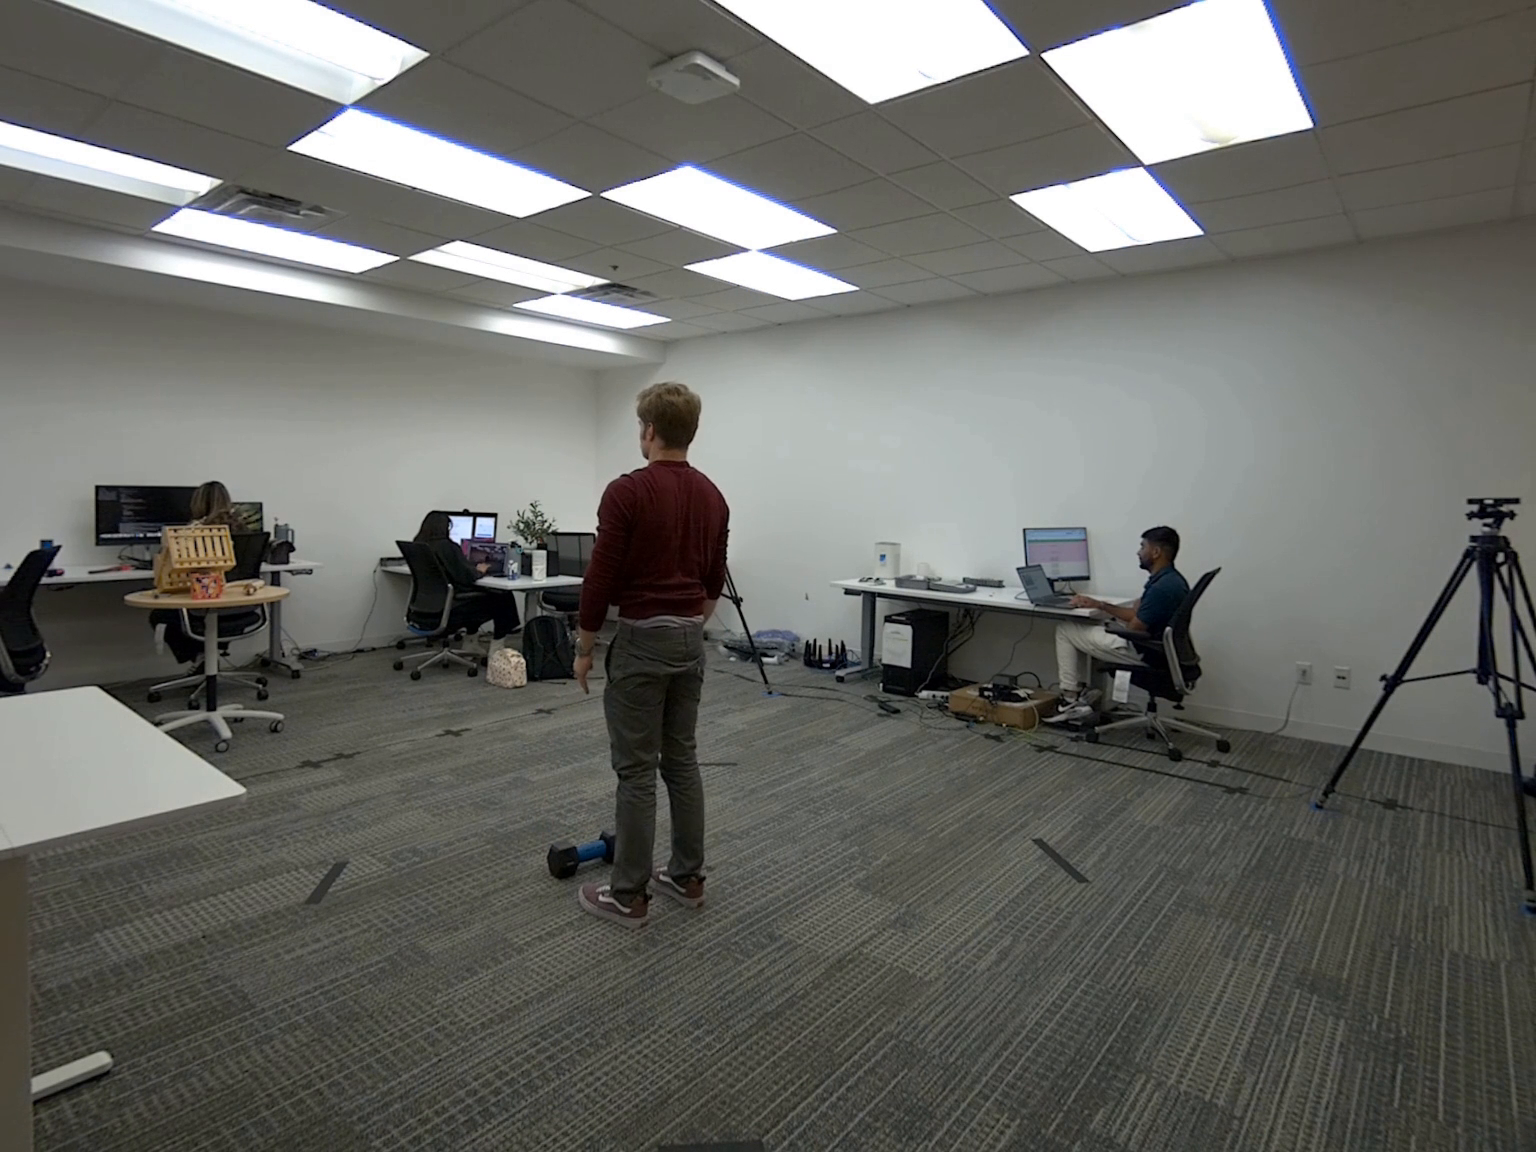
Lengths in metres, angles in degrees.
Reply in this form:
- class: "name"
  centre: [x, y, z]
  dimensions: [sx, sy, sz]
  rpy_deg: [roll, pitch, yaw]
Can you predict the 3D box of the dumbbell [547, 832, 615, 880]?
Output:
- class: "dumbbell"
  centre: [-0.663, 1.005, 3.101]
  dimensions: [0.285, 0.121, 0.113]
  rpy_deg: [-3, 32, -40]
